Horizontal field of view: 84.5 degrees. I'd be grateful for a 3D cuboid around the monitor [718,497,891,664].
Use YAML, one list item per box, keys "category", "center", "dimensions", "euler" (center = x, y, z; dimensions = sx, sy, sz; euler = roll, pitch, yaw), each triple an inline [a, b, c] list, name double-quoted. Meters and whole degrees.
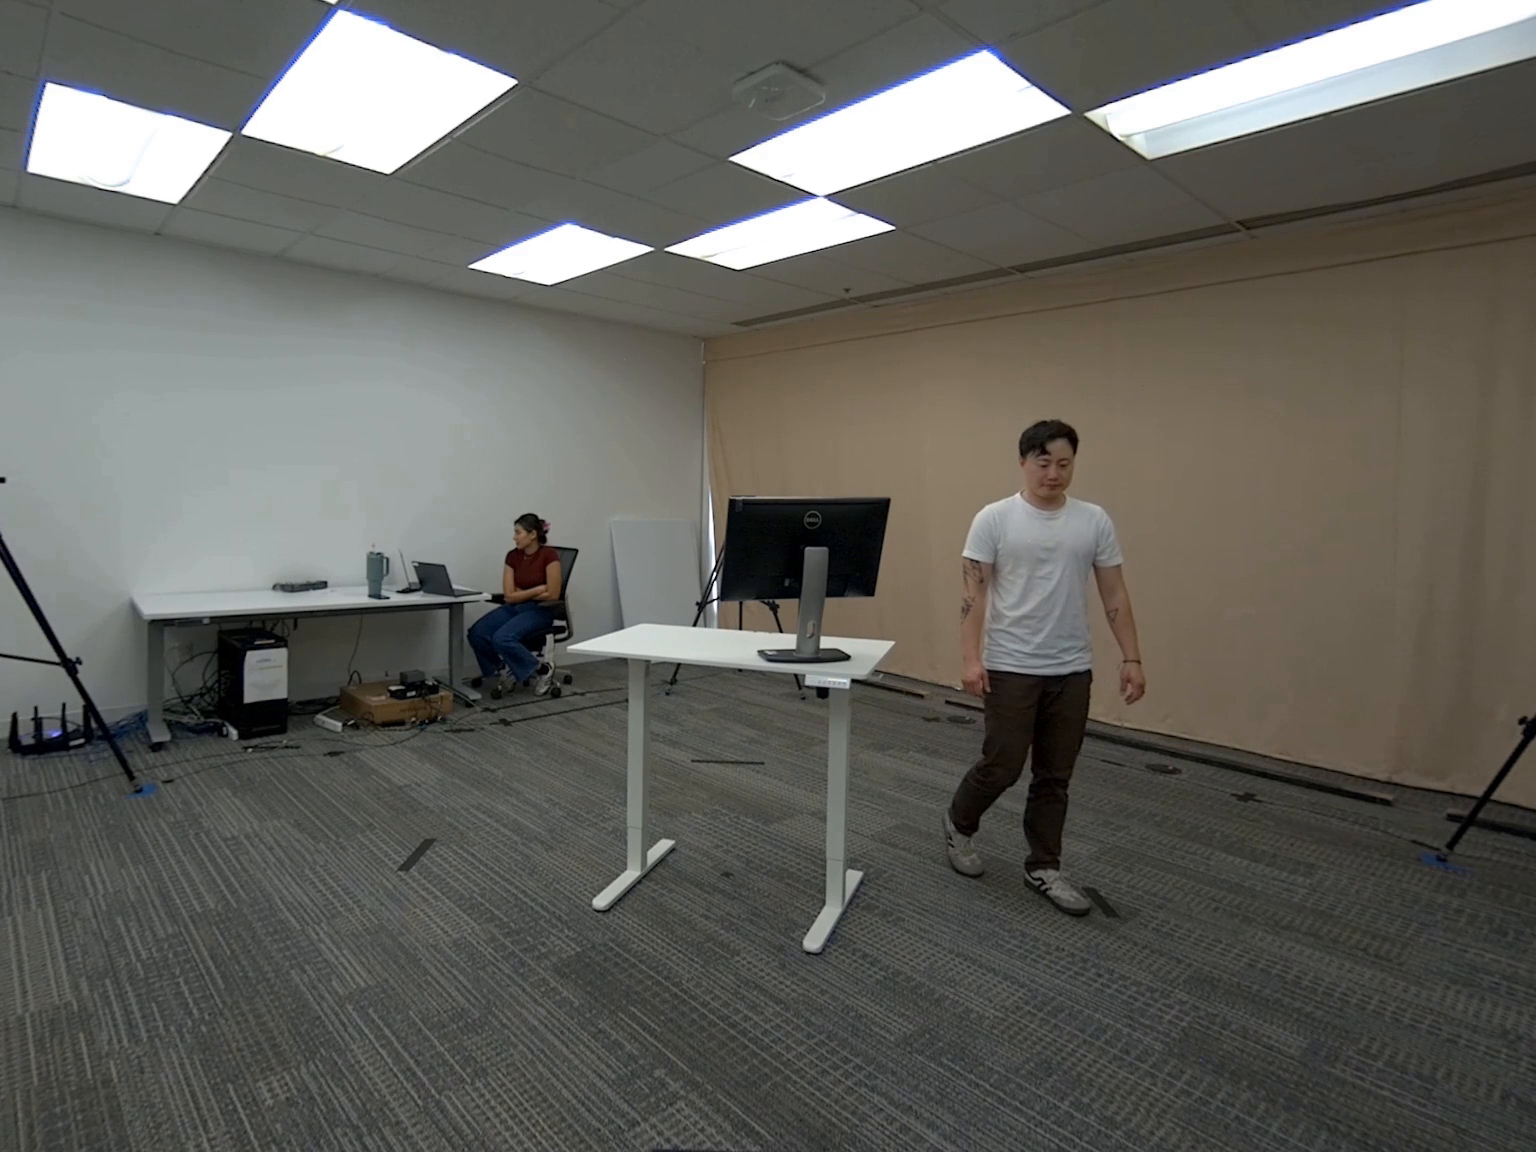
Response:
- category: "monitor"
  center: [0.124, 0.012, 2.666]
  dimensions: [0.532, 0.520, 0.190]
  euler: [-1, 7, -18]
